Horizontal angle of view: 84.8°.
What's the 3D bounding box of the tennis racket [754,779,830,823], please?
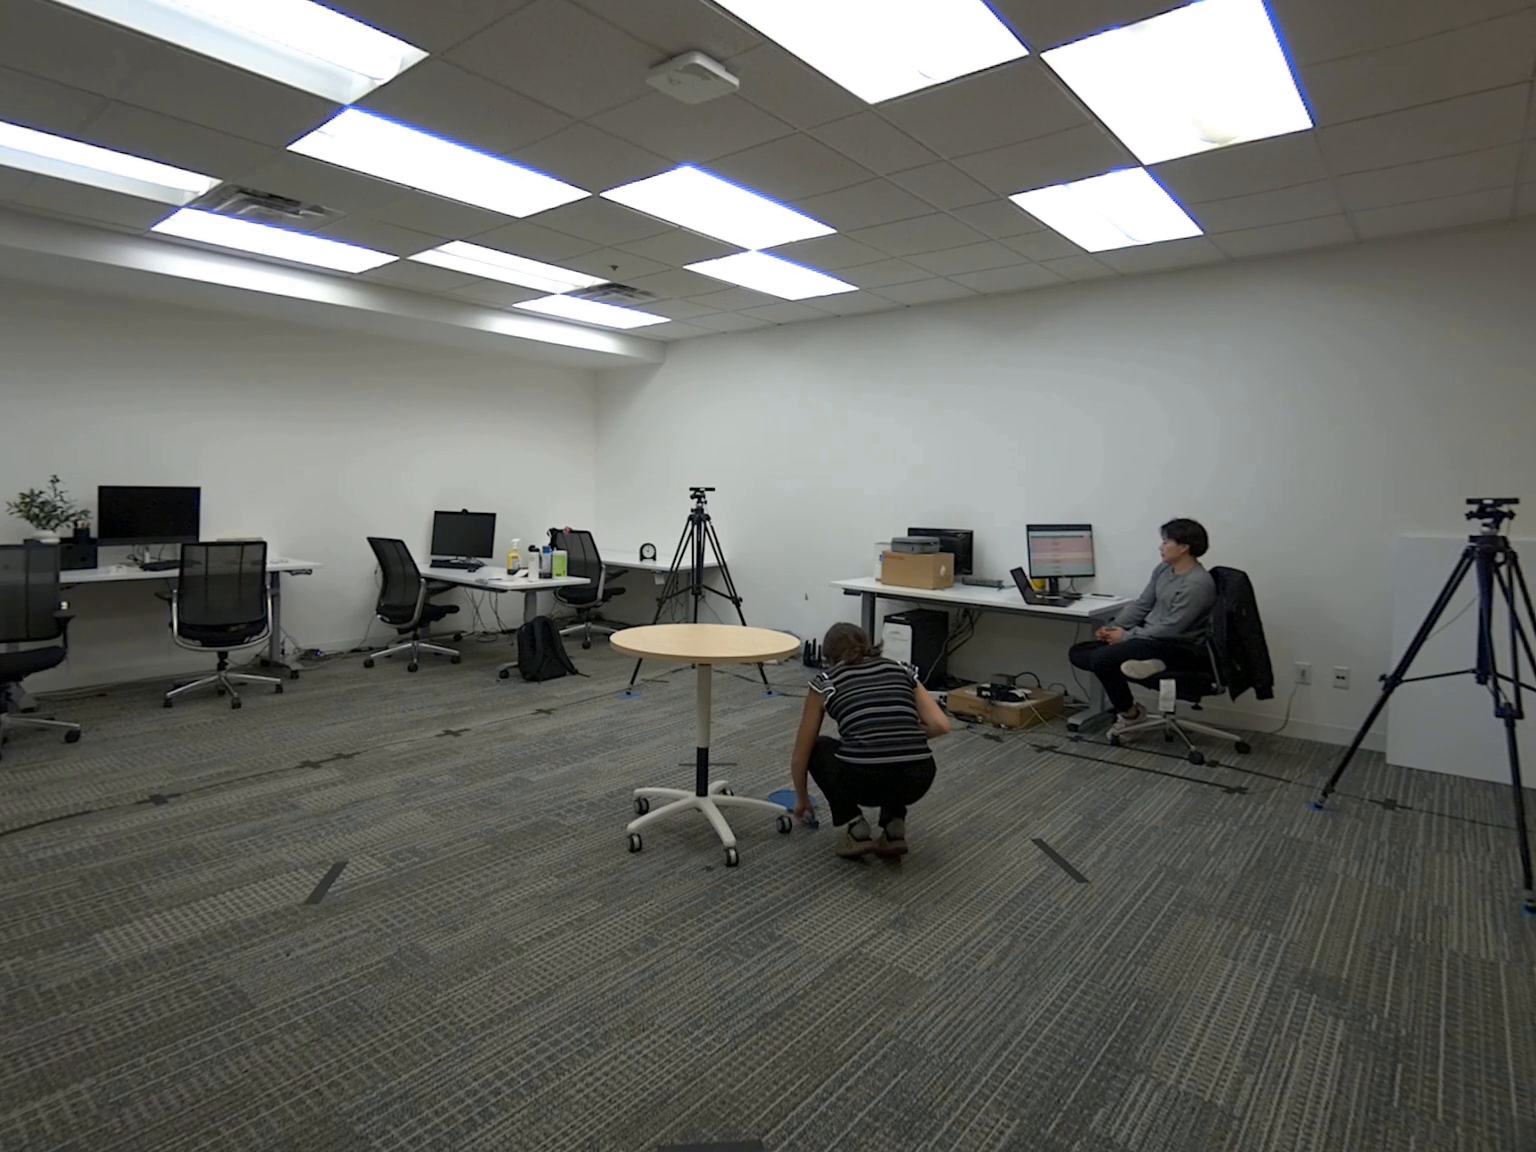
[{"bbox_3d":[0.094,0.980,3.689,0.211,0.031,0.440,0,5,-14],"label":"tennis racket"}]
